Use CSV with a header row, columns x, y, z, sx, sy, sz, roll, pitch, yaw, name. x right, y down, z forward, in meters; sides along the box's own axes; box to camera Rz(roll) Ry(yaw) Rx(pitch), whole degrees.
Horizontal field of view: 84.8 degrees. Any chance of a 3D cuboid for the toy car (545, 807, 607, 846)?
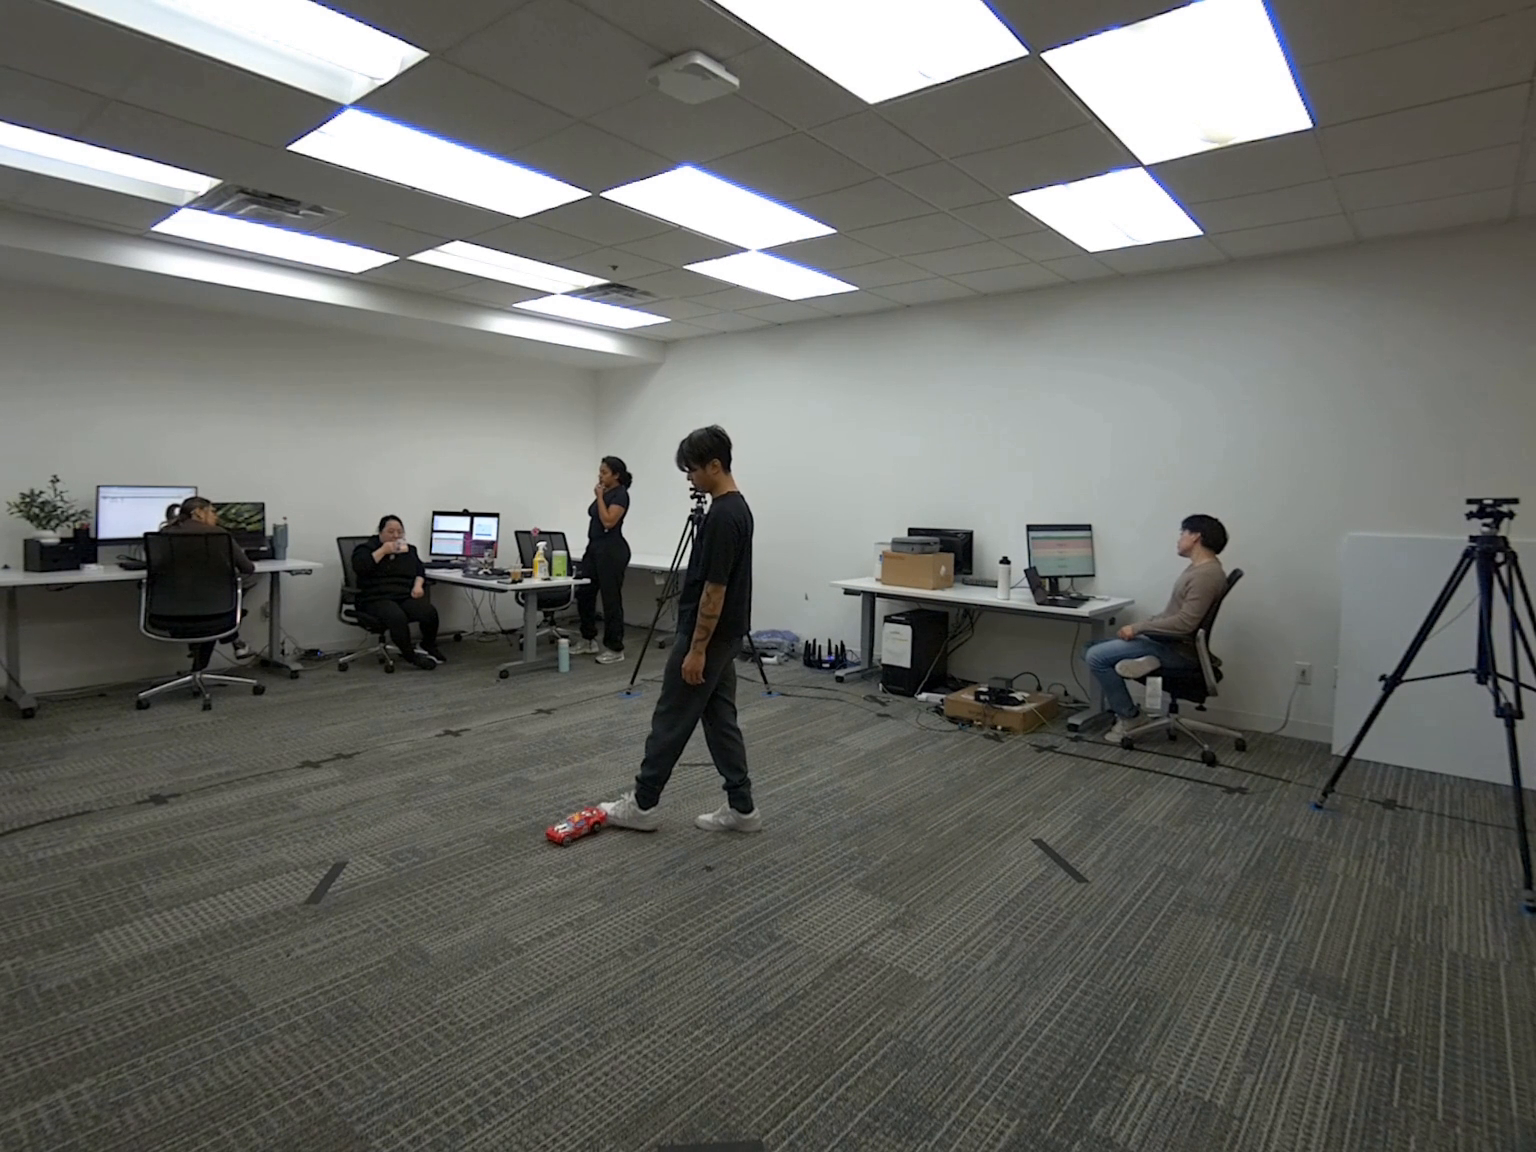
x,y,z,sx,sy,sz,roll,pitch,yaw,name
-0.771,0.992,3.381,0.135,0.082,0.250,5,21,41,toy car
